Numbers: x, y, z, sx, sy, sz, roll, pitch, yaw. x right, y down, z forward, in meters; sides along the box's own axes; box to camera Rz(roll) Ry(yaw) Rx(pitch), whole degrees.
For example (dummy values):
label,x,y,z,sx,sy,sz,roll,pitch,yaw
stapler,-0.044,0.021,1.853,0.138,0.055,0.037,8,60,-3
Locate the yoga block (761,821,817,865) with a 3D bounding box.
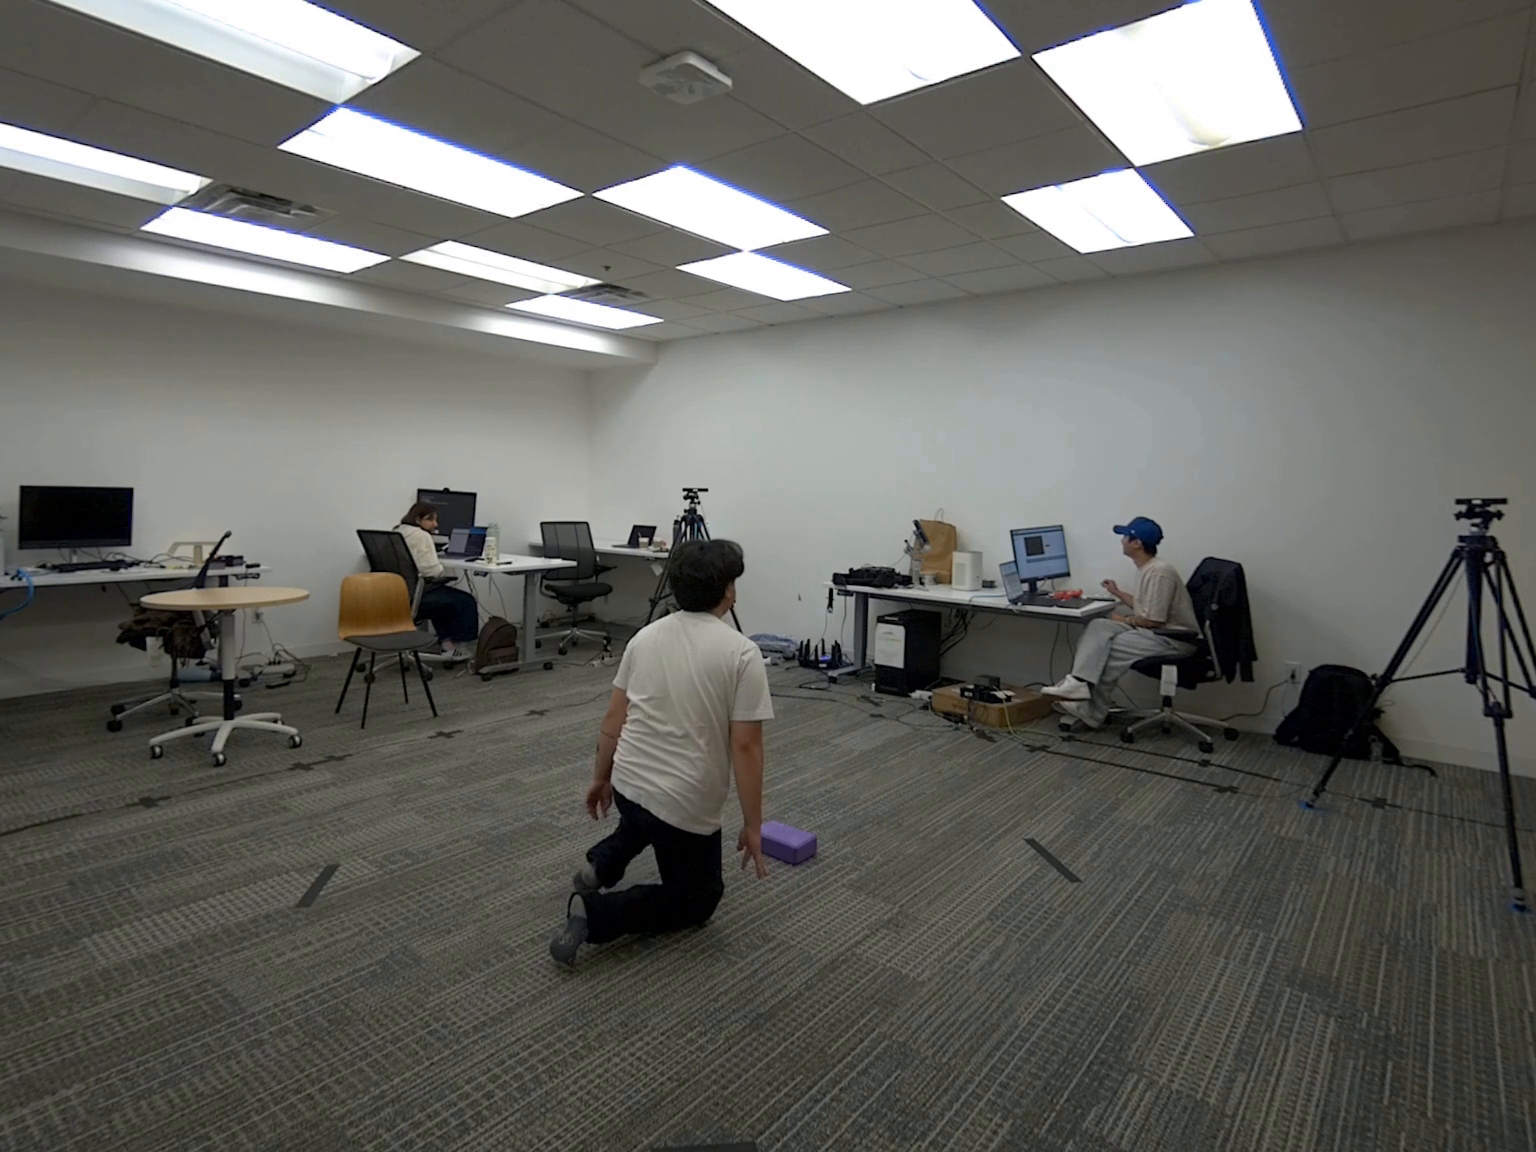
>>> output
label,x,y,z,sx,sy,sz,roll,pitch,yaw
yoga block,0.048,1.020,3.274,0.237,0.076,0.145,5,7,38
